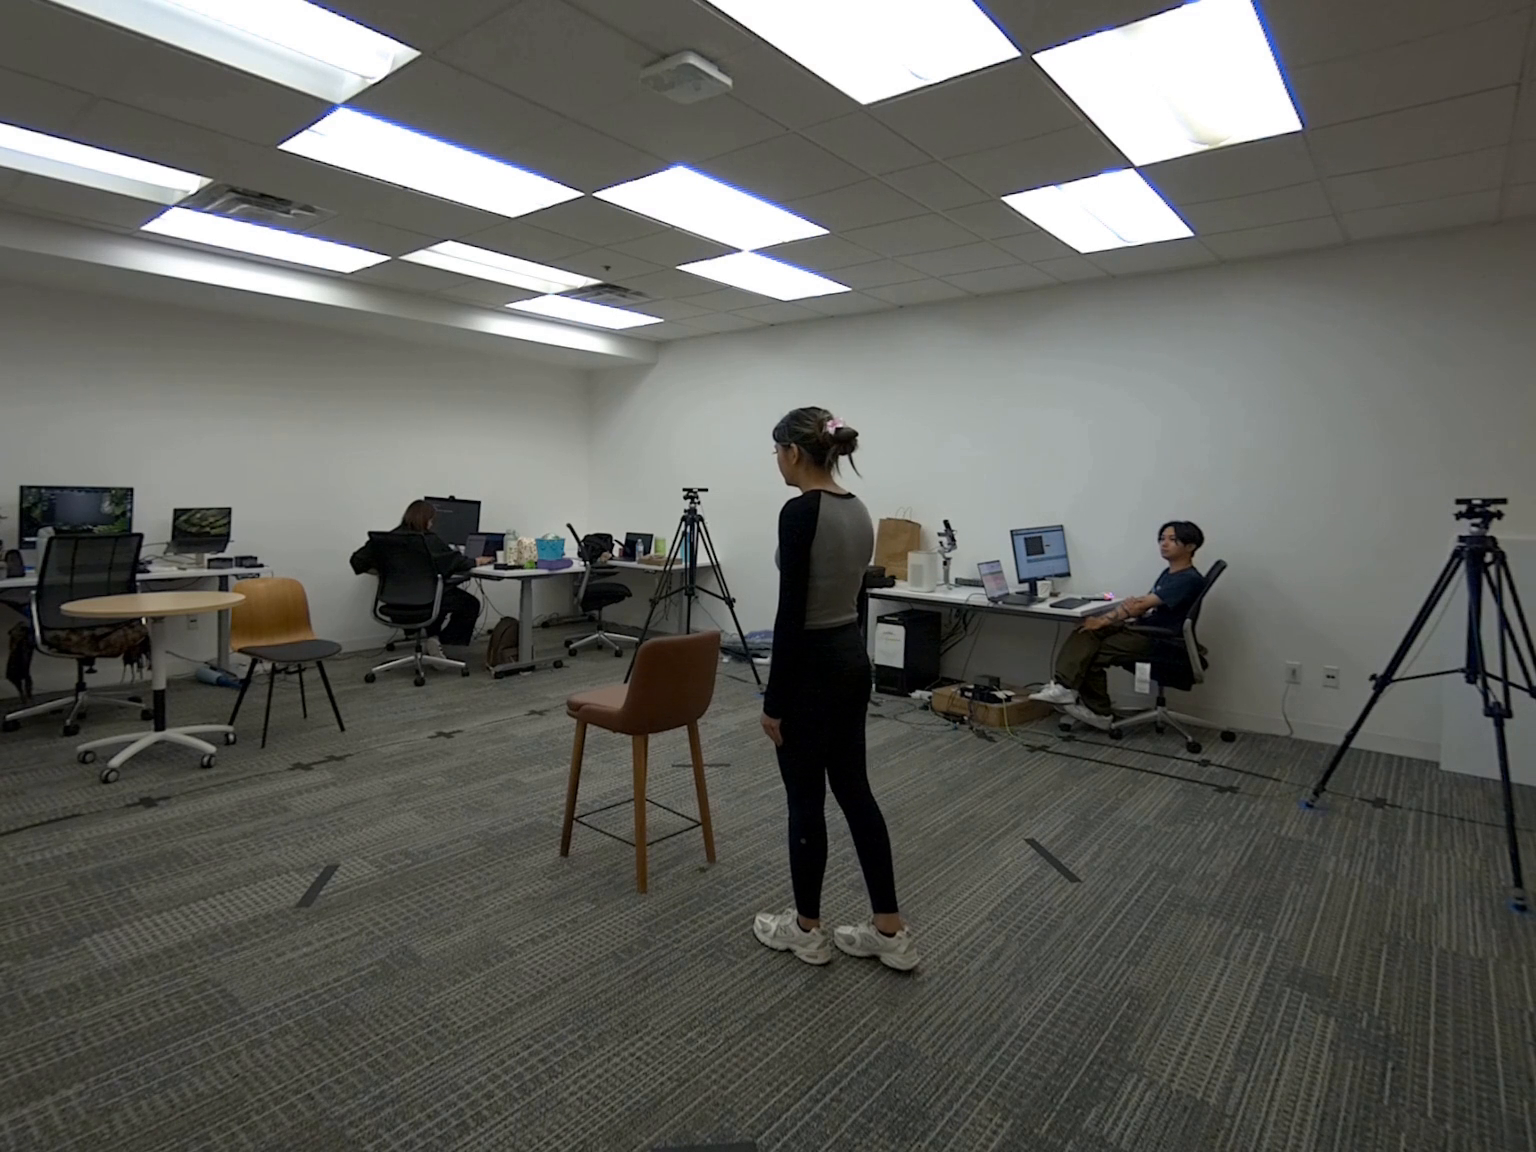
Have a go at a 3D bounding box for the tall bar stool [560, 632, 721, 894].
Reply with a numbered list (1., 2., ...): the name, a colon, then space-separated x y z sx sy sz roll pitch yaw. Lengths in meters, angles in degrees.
1. tall bar stool: -0.482 0.624 3.172 0.484 0.887 0.442 6 5 41
